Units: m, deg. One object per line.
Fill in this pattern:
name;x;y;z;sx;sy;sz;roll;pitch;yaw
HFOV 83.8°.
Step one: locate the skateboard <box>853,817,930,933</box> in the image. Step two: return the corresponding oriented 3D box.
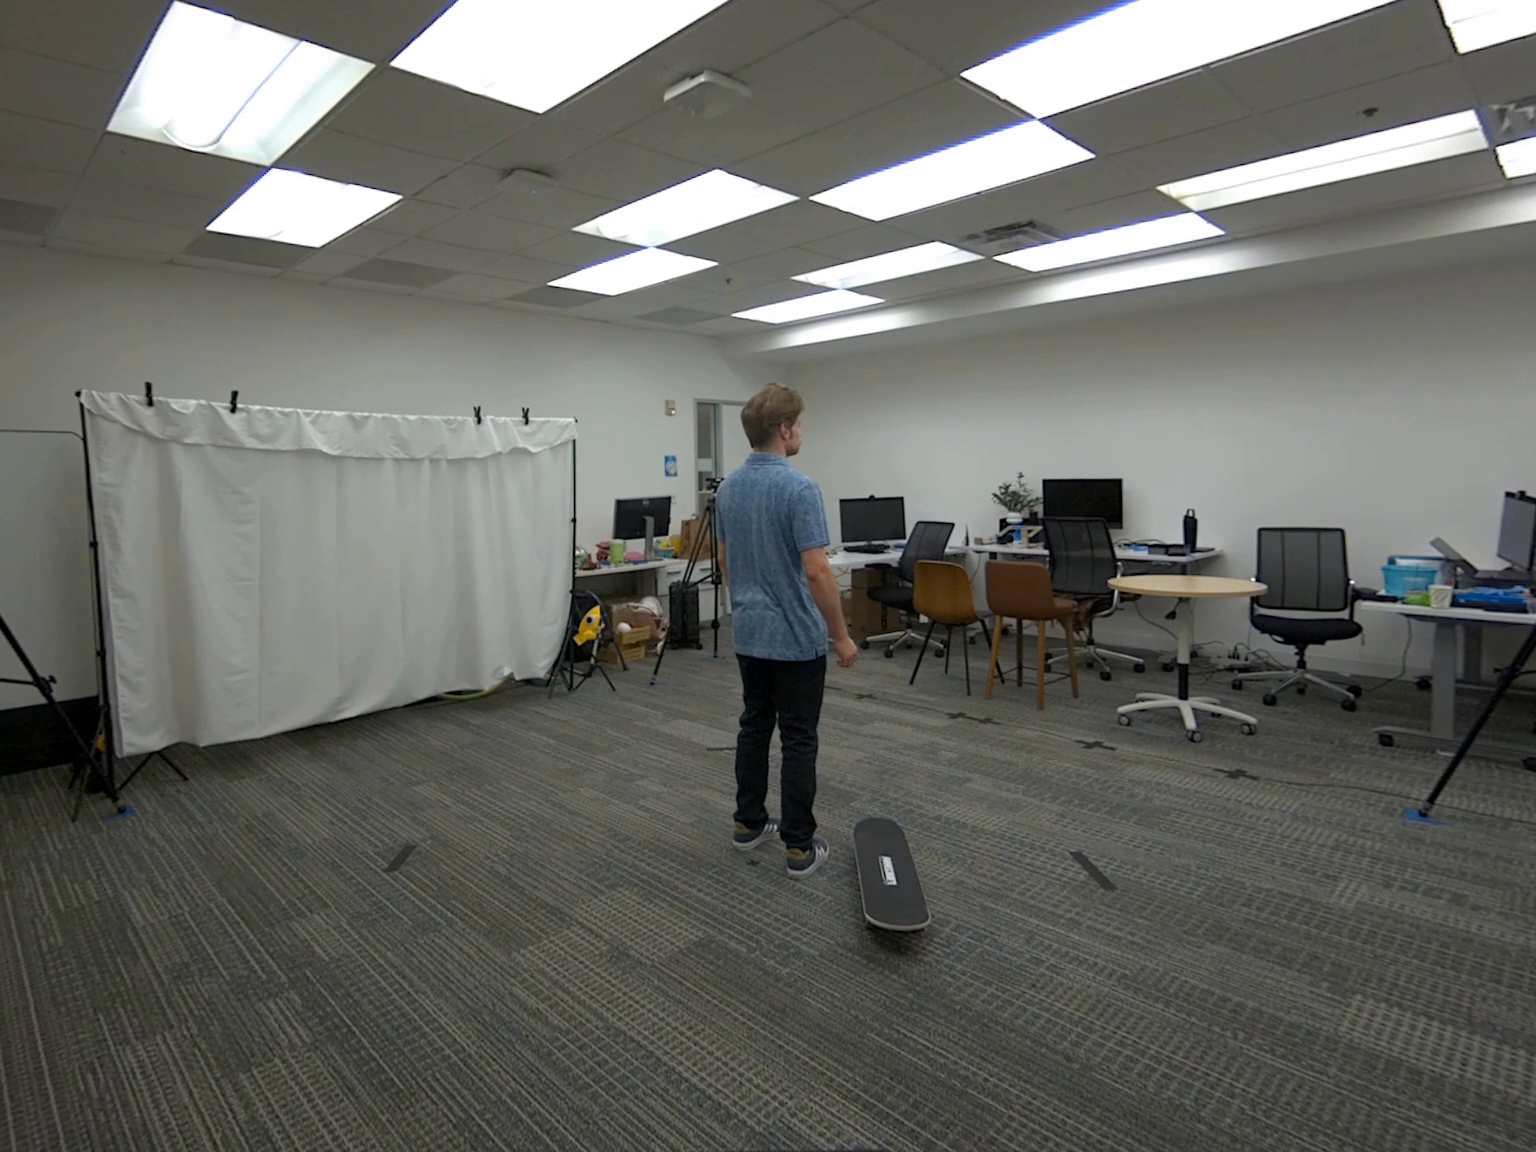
skateboard;0.403;1.007;2.838;0.194;0.110;0.786;-1;7;3
